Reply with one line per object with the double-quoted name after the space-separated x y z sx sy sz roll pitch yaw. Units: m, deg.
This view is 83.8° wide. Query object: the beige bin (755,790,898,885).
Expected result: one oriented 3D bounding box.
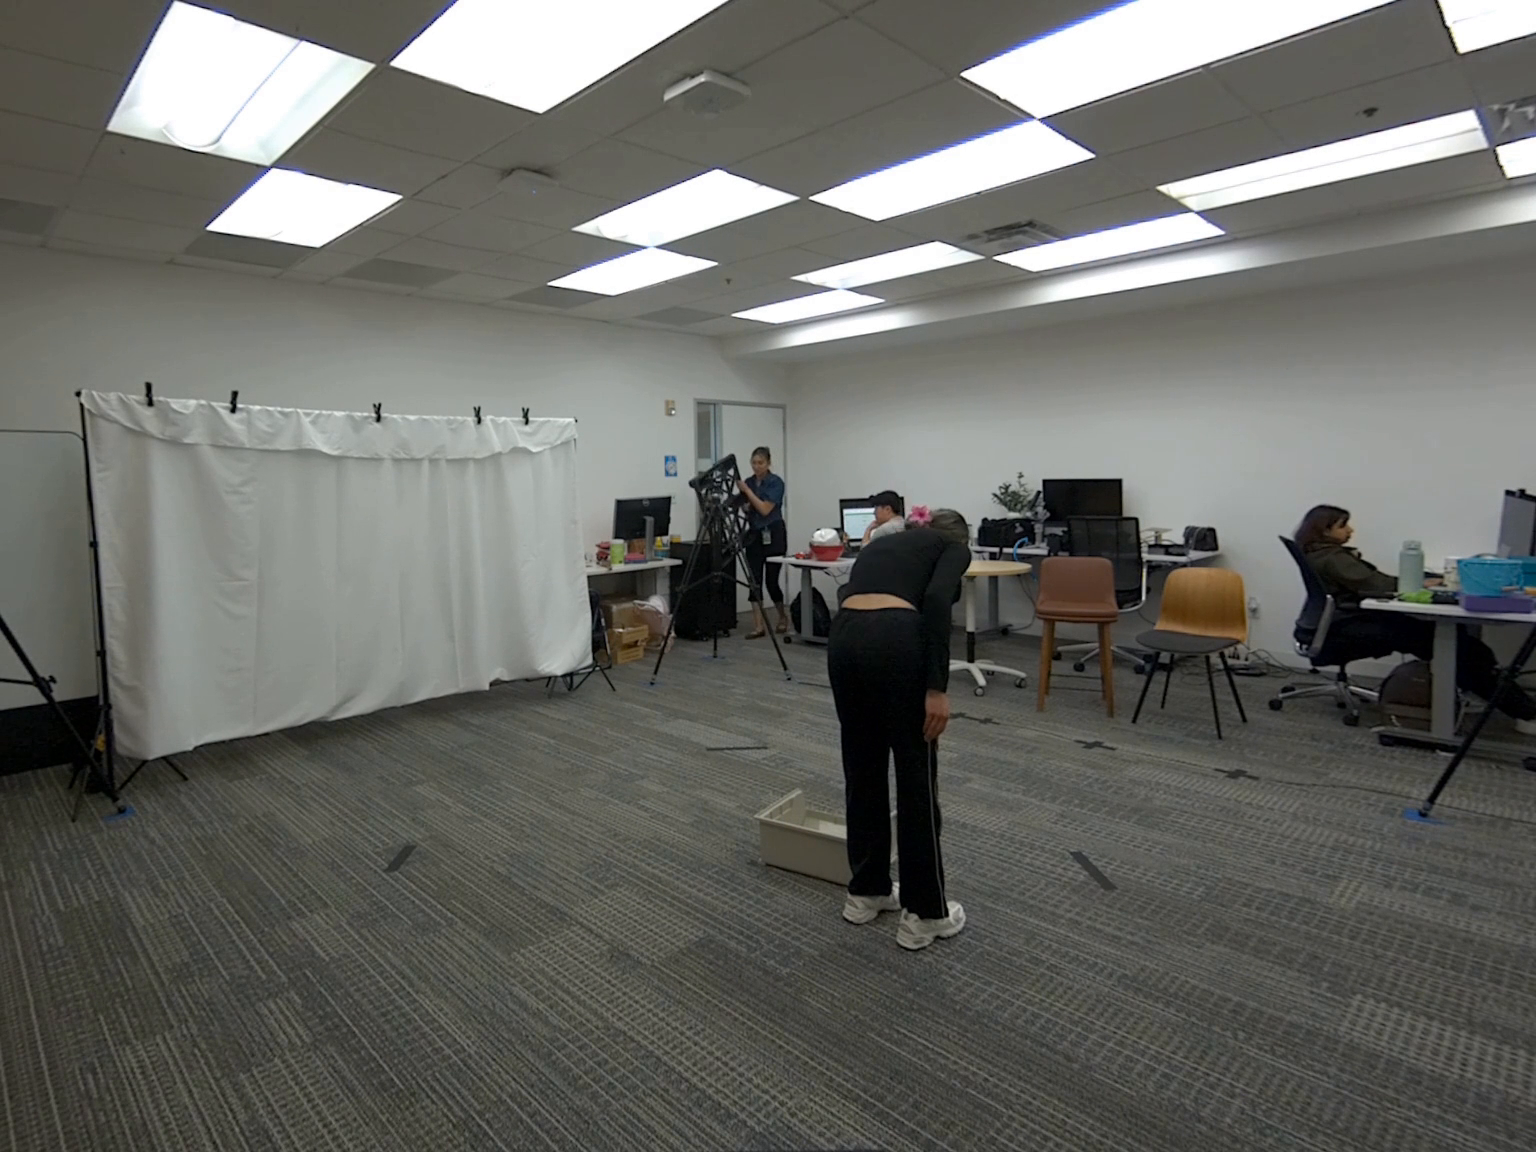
0.227 0.951 3.122 0.434 0.188 0.369 4 8 32 "beige bin"
